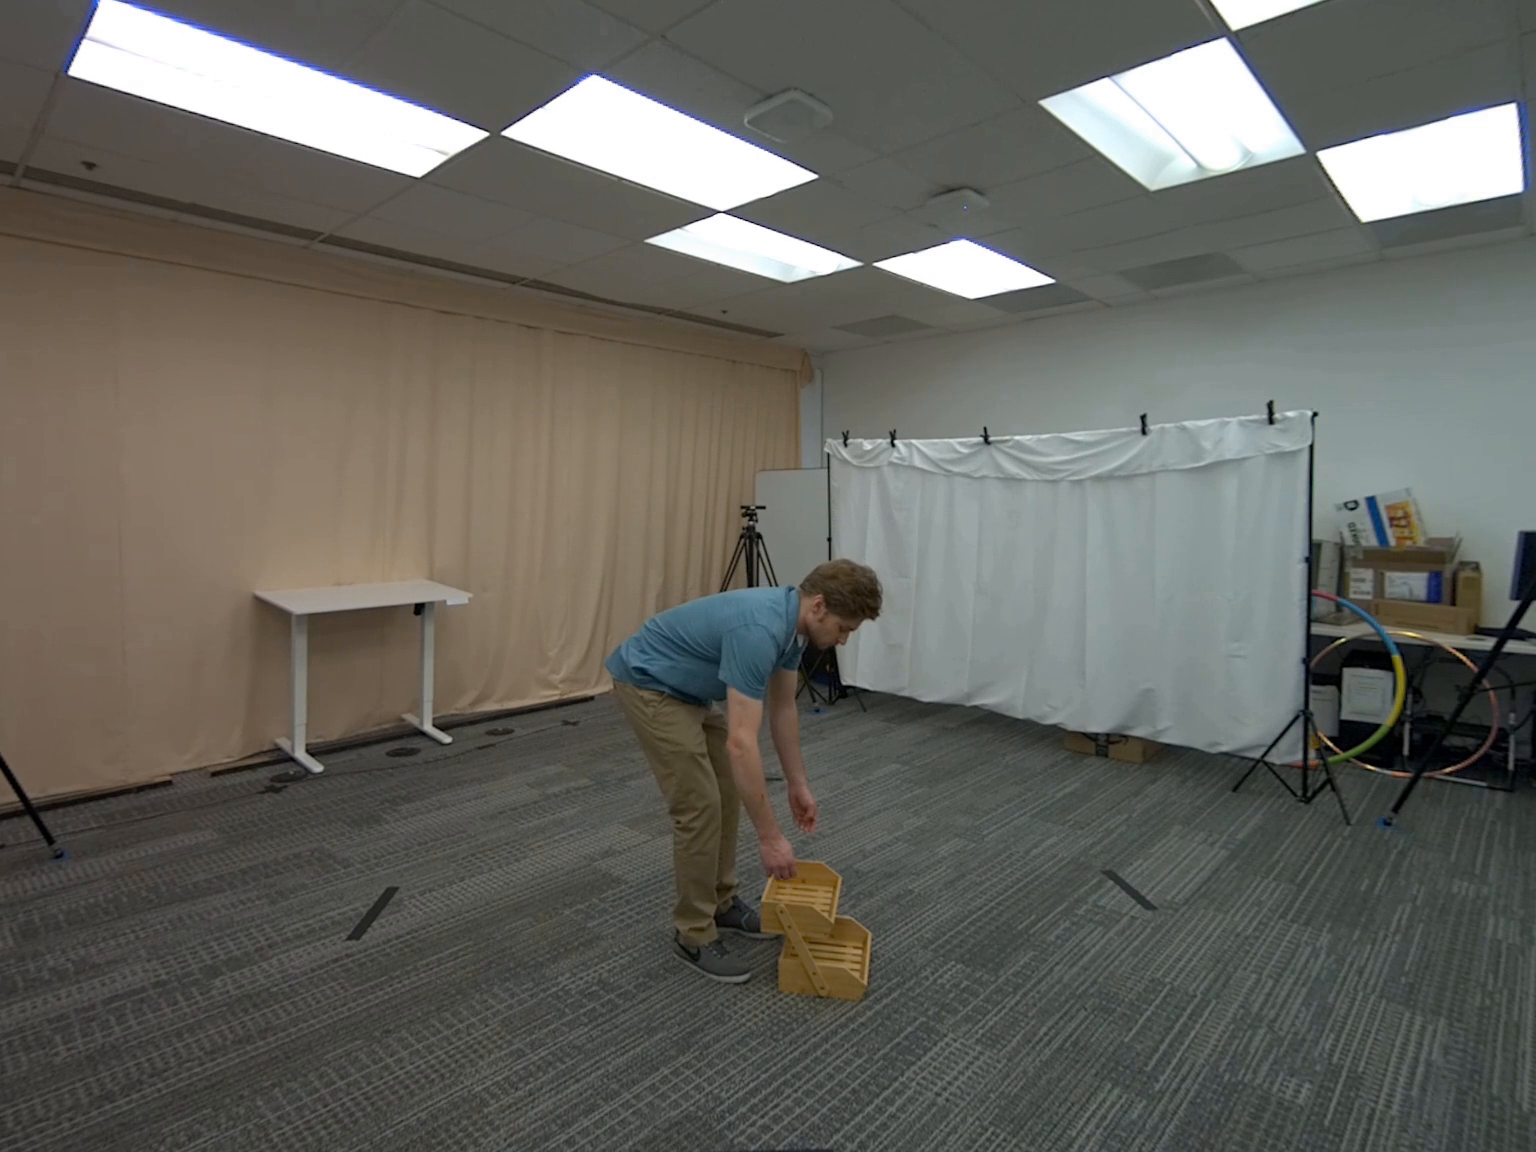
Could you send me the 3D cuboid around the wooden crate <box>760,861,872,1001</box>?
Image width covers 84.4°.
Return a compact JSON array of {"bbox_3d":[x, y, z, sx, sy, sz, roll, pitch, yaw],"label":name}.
[{"bbox_3d":[0.159,1.049,2.526,0.306,0.273,0.321,0,4,11],"label":"wooden crate"}]
